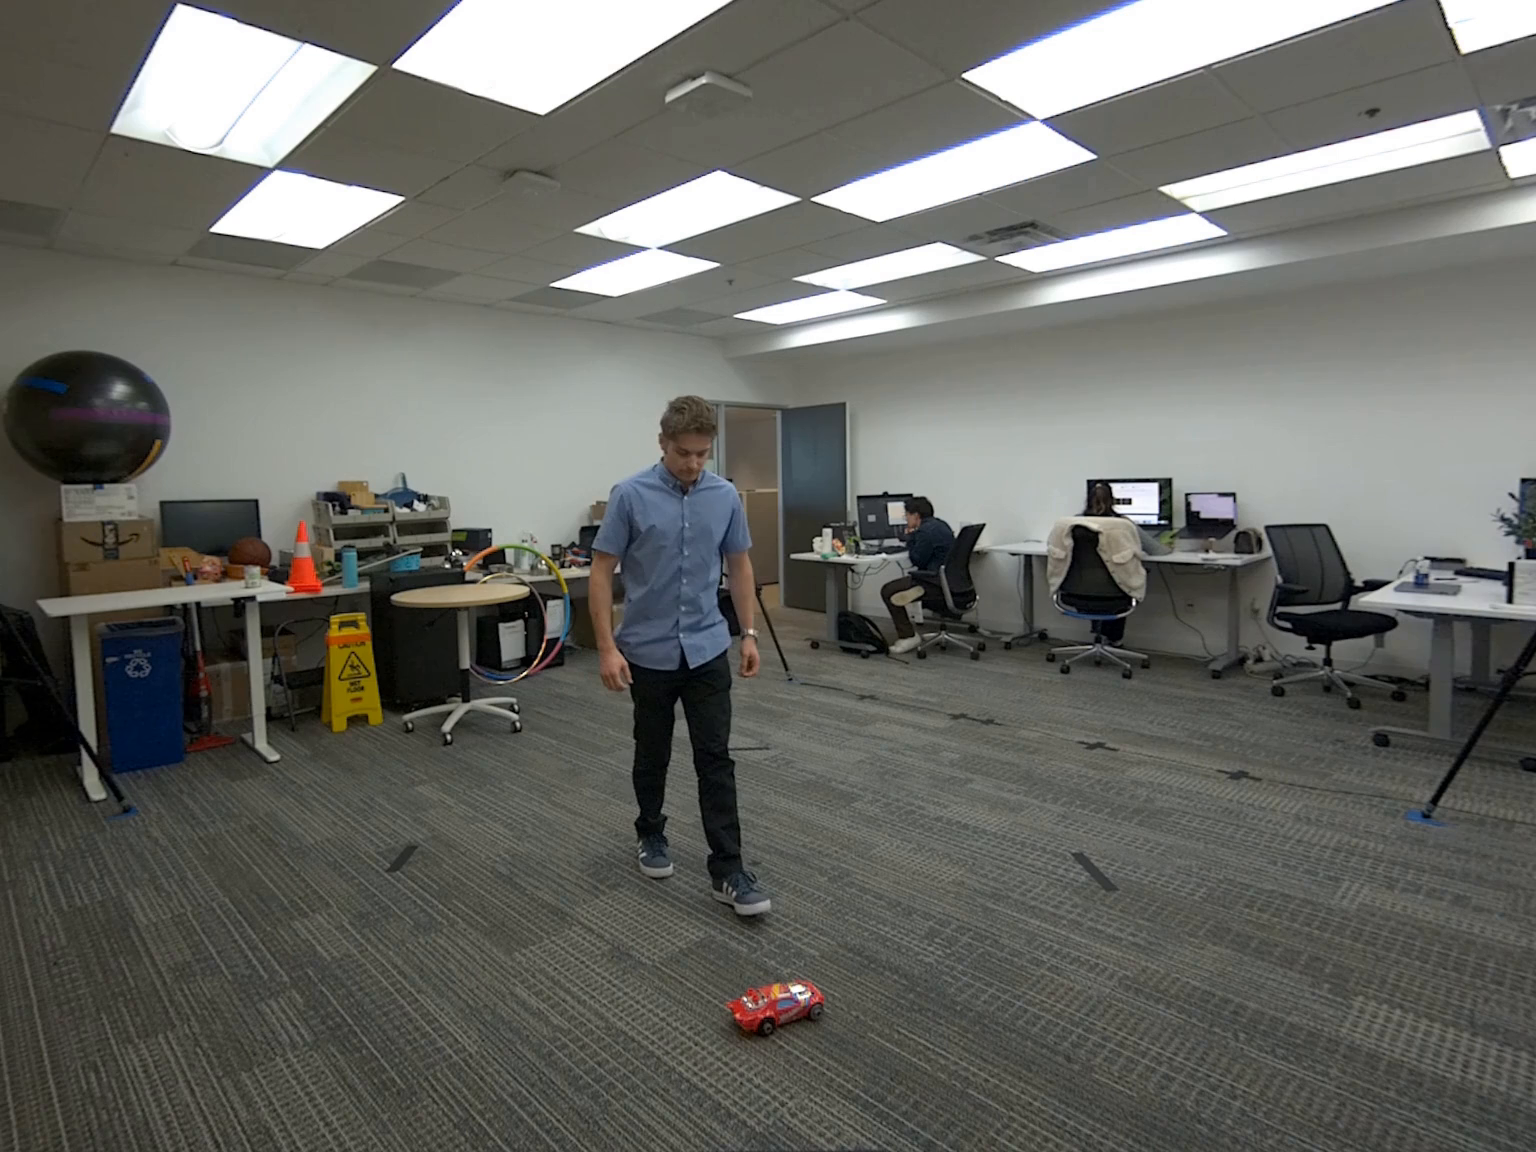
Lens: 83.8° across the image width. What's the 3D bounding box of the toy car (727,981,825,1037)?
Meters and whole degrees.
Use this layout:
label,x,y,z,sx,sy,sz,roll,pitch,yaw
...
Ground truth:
label,x,y,z,sx,sy,sz,roll,pitch,yaw
toy car,0.024,1.117,2.213,0.248,0.083,0.133,7,1,-25
